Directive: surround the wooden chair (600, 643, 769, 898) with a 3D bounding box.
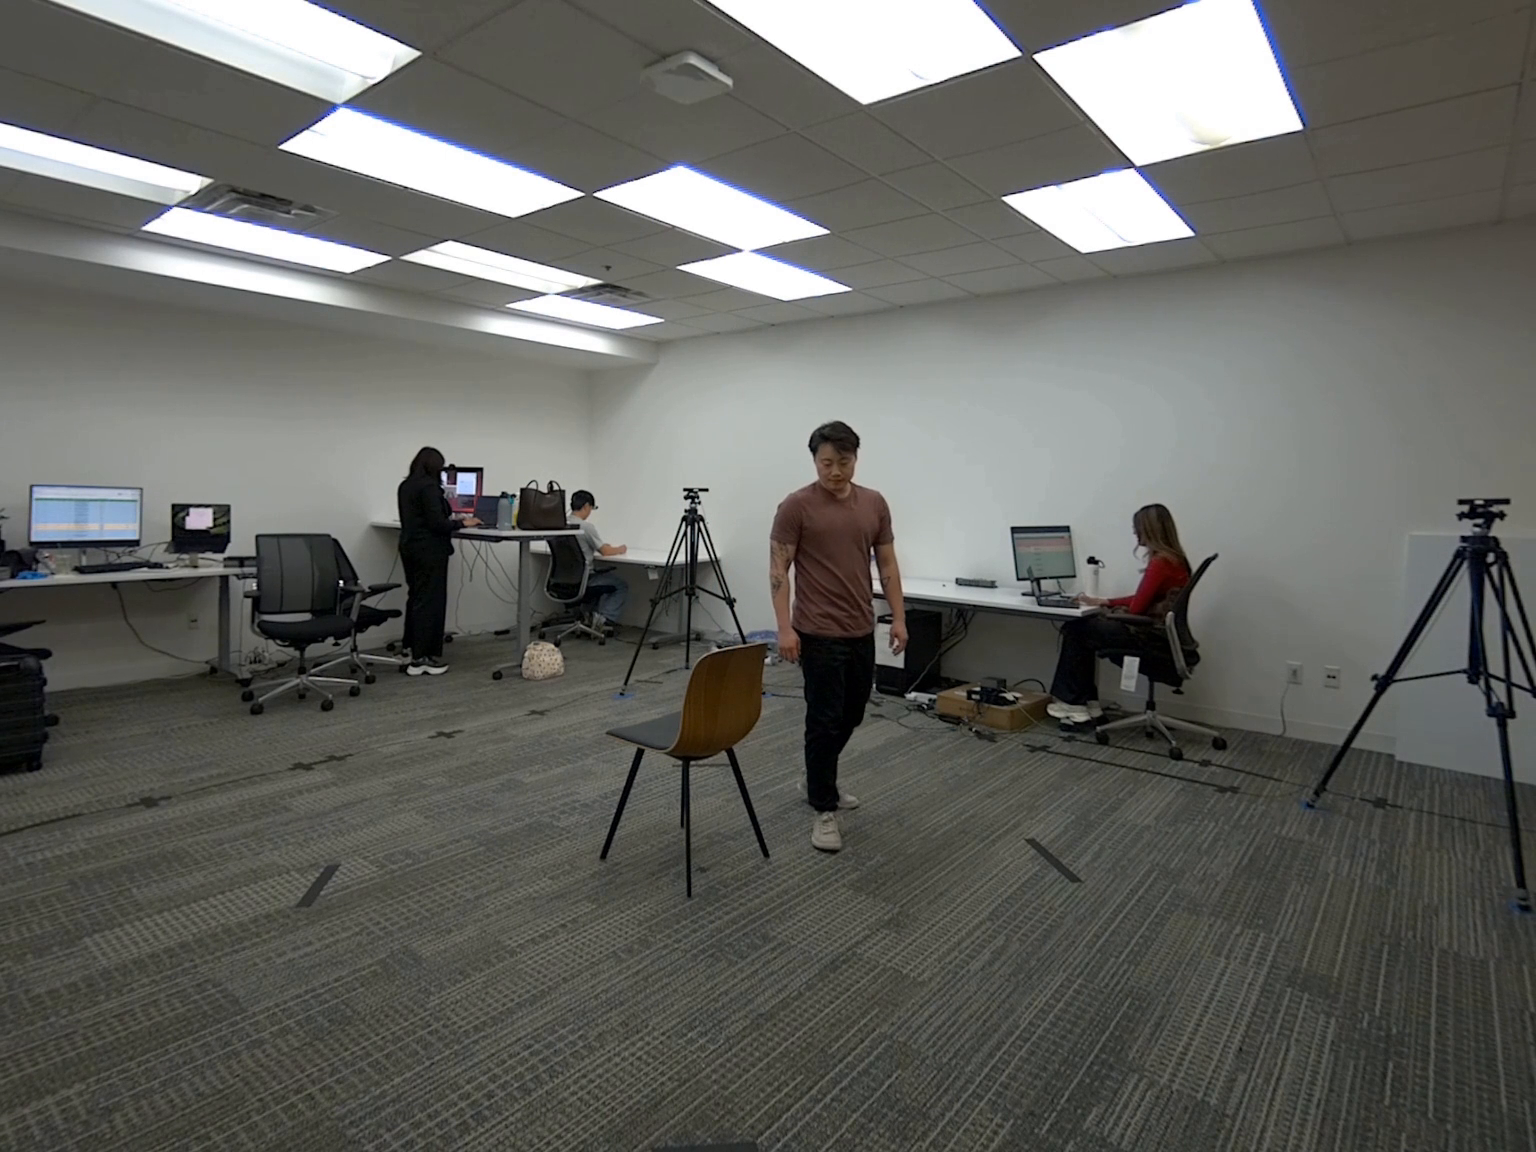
[{"bbox_3d":[-0.318,0.634,3.175,0.542,0.873,0.464,9,7,38],"label":"wooden chair"}]
